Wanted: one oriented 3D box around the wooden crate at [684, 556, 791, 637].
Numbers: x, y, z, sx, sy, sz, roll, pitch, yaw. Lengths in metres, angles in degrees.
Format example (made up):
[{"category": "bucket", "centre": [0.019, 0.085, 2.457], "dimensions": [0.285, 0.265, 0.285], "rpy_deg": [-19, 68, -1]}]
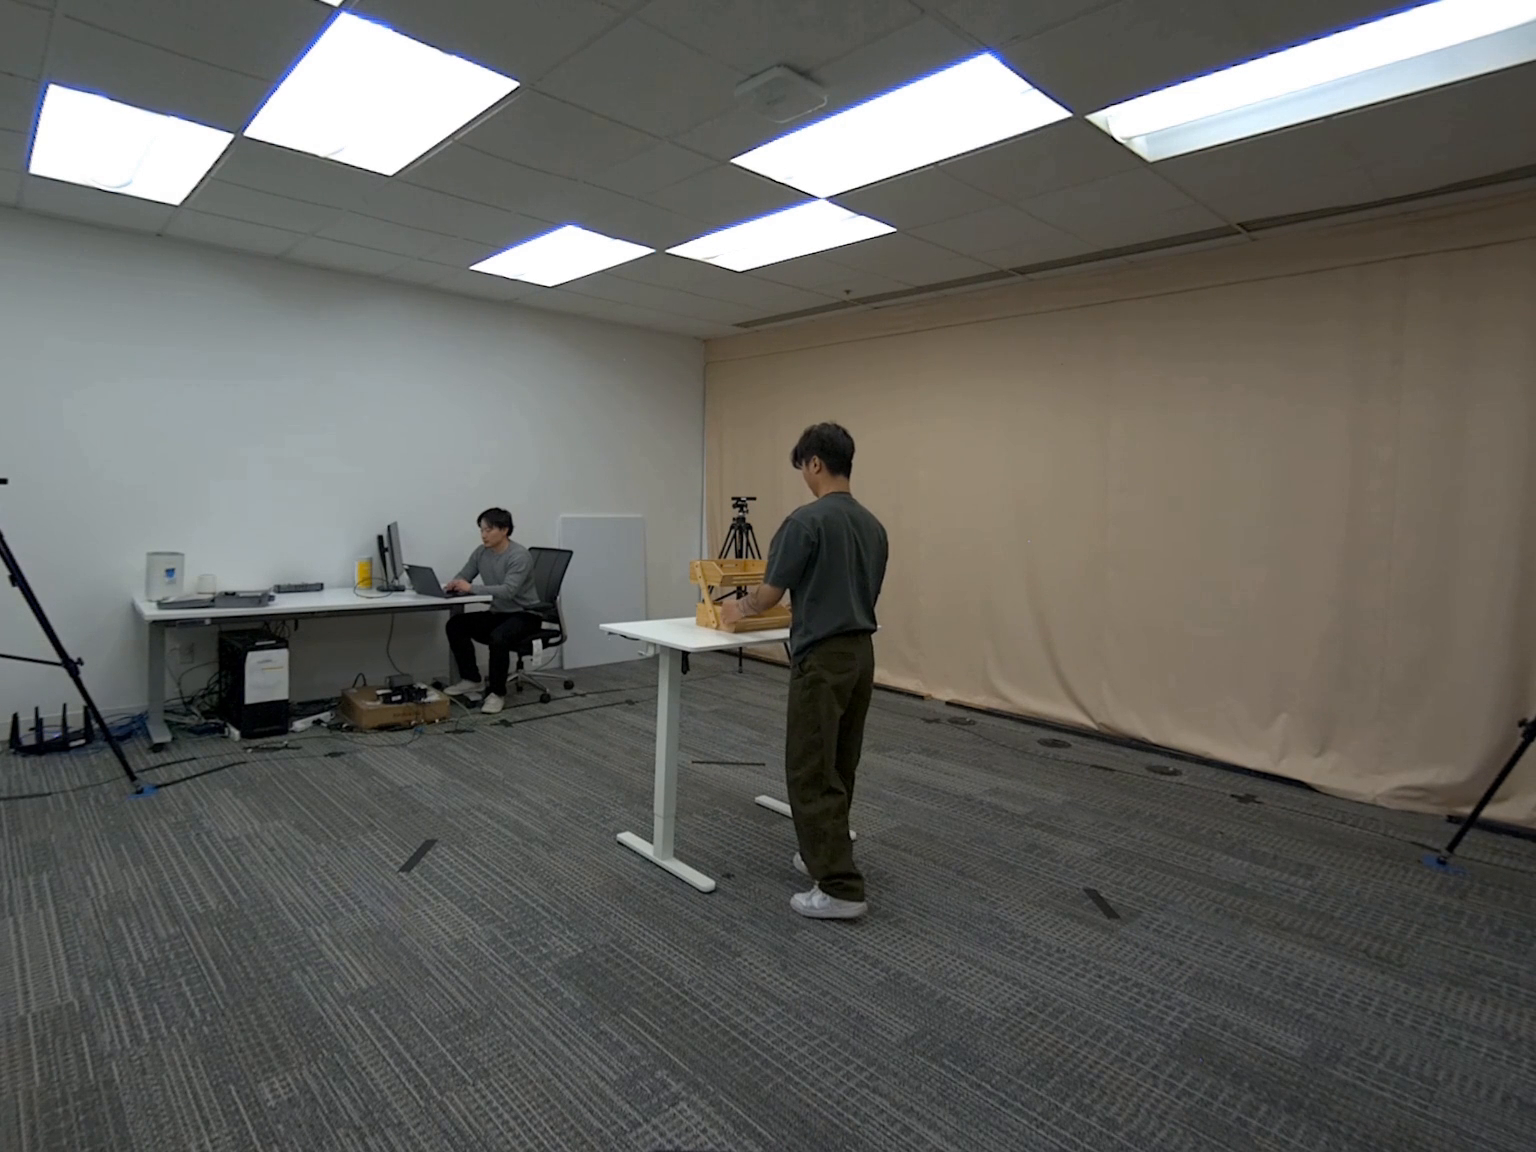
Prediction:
[{"category": "wooden crate", "centre": [-0.109, 0.071, 3.375], "dimensions": [0.317, 0.273, 0.310], "rpy_deg": [-1, 5, -42]}]
